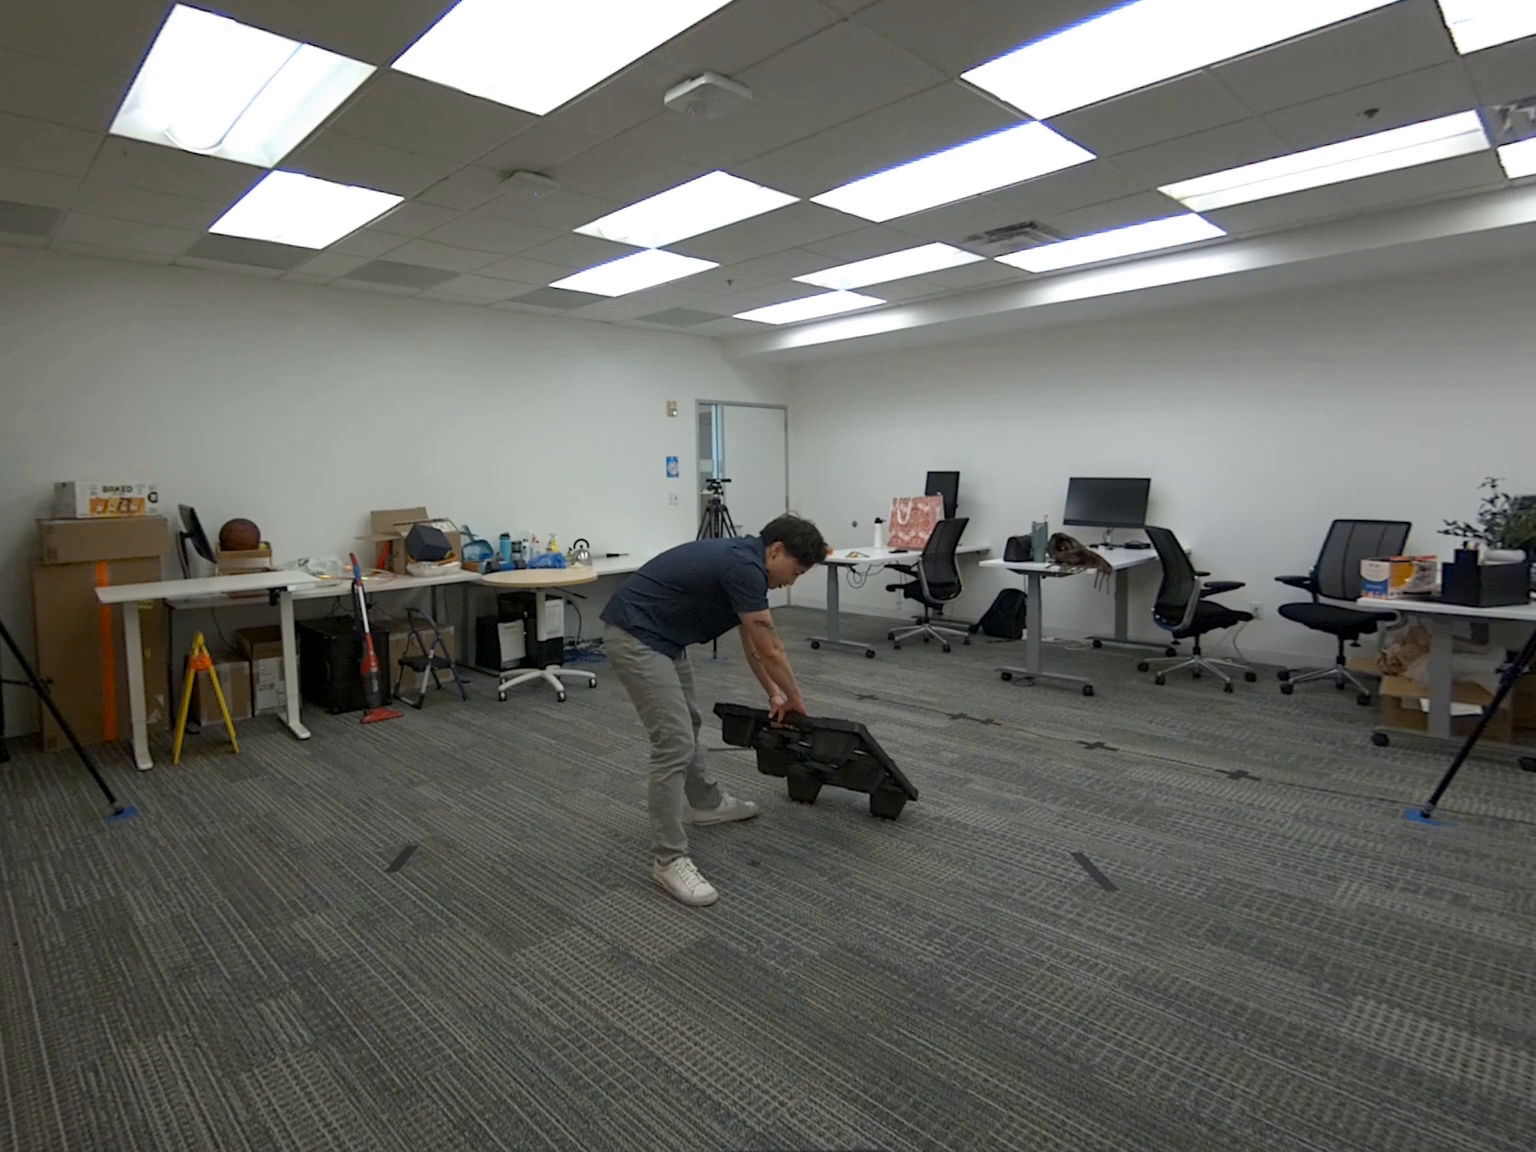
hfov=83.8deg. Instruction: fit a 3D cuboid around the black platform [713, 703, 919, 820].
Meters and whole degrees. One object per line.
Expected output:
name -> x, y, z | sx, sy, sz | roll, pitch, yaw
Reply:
black platform -> 0.192, 0.744, 3.363 | 0.620, 0.145, 0.774 | 2, -30, 28
